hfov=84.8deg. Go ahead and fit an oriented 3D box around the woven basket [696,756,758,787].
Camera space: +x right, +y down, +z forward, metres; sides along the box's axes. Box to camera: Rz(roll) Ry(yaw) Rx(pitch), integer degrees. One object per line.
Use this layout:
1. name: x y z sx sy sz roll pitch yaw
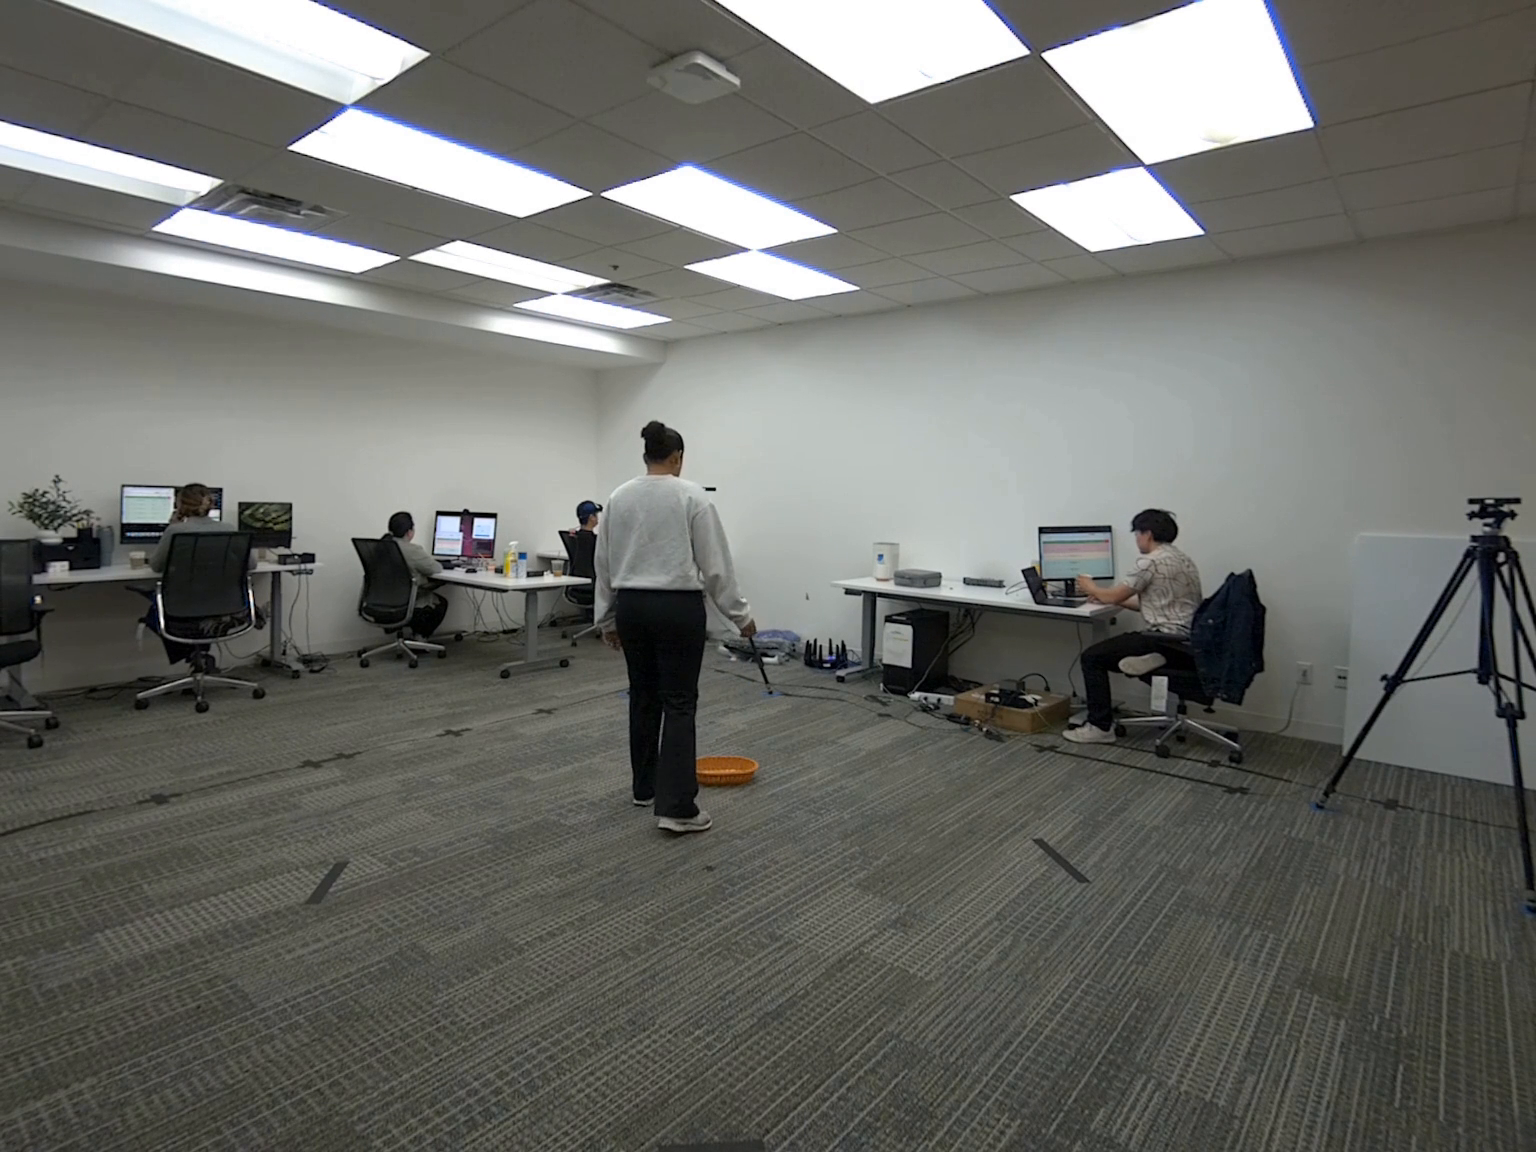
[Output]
1. woven basket: -0.230 0.935 4.084 0.347 0.073 0.256 -1 6 -10
